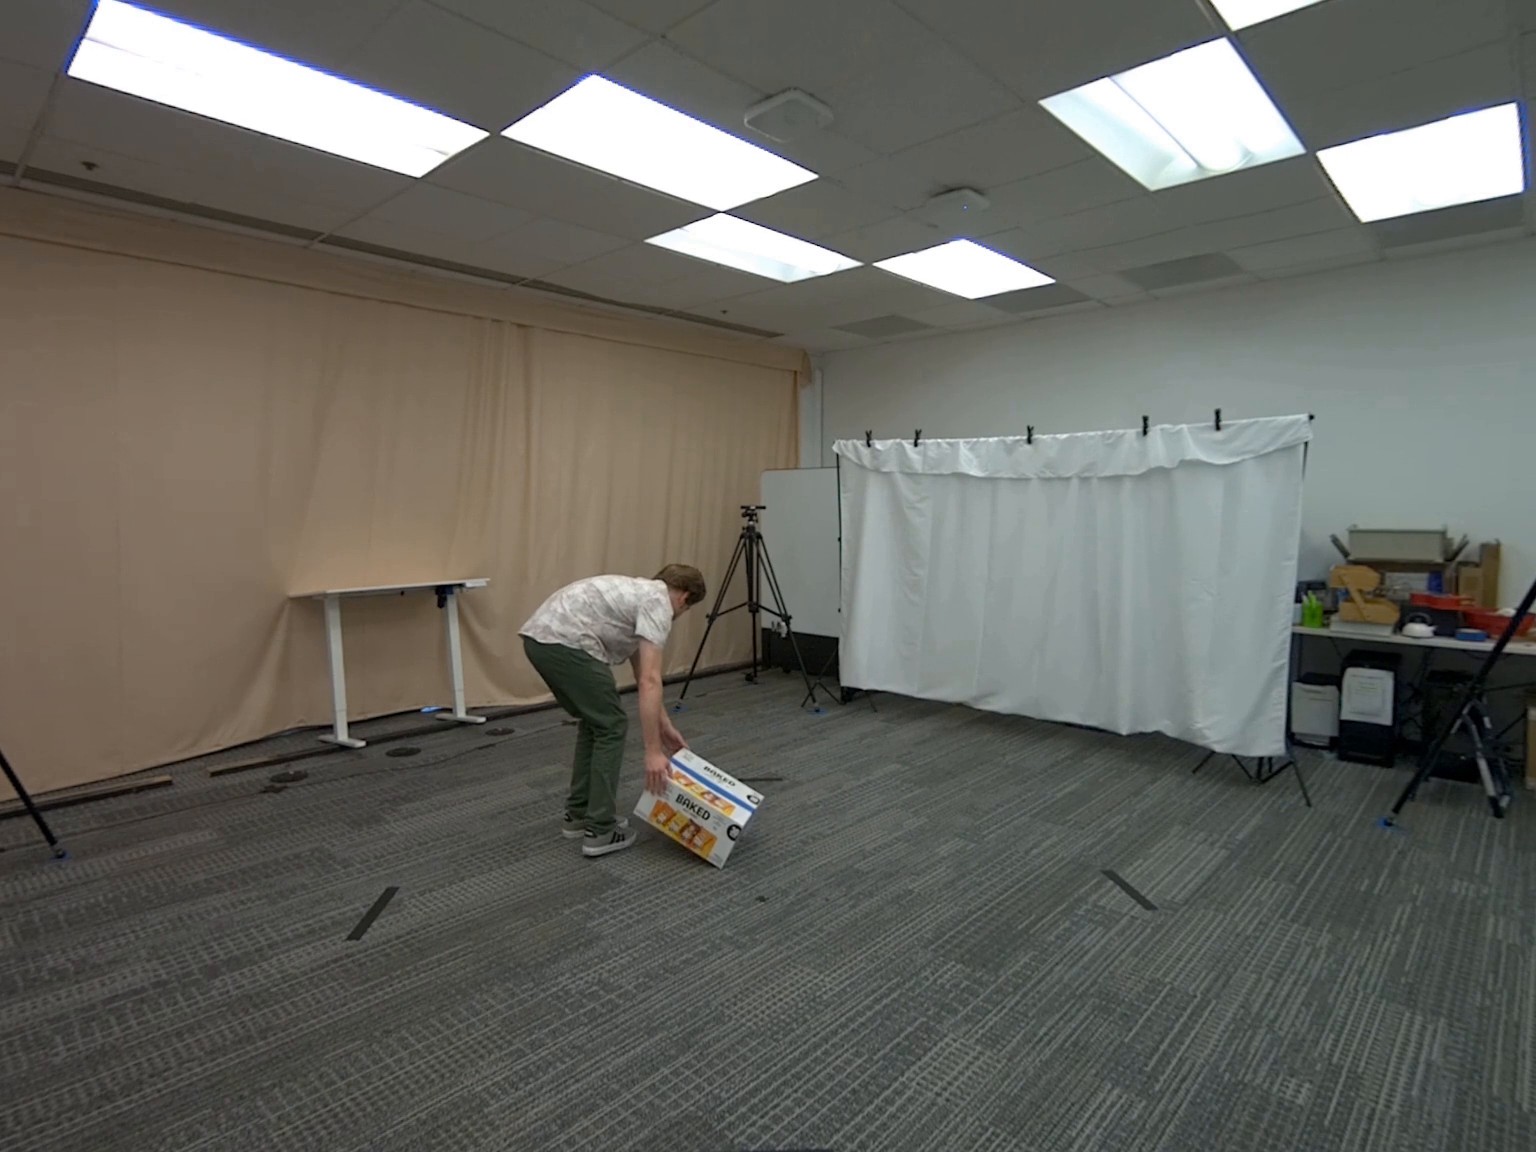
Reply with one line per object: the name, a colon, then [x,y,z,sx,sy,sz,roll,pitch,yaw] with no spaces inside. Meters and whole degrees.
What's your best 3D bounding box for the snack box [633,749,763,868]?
snack box: [-0.271,0.931,3.411,0.412,0.205,0.335,28,11,12]
